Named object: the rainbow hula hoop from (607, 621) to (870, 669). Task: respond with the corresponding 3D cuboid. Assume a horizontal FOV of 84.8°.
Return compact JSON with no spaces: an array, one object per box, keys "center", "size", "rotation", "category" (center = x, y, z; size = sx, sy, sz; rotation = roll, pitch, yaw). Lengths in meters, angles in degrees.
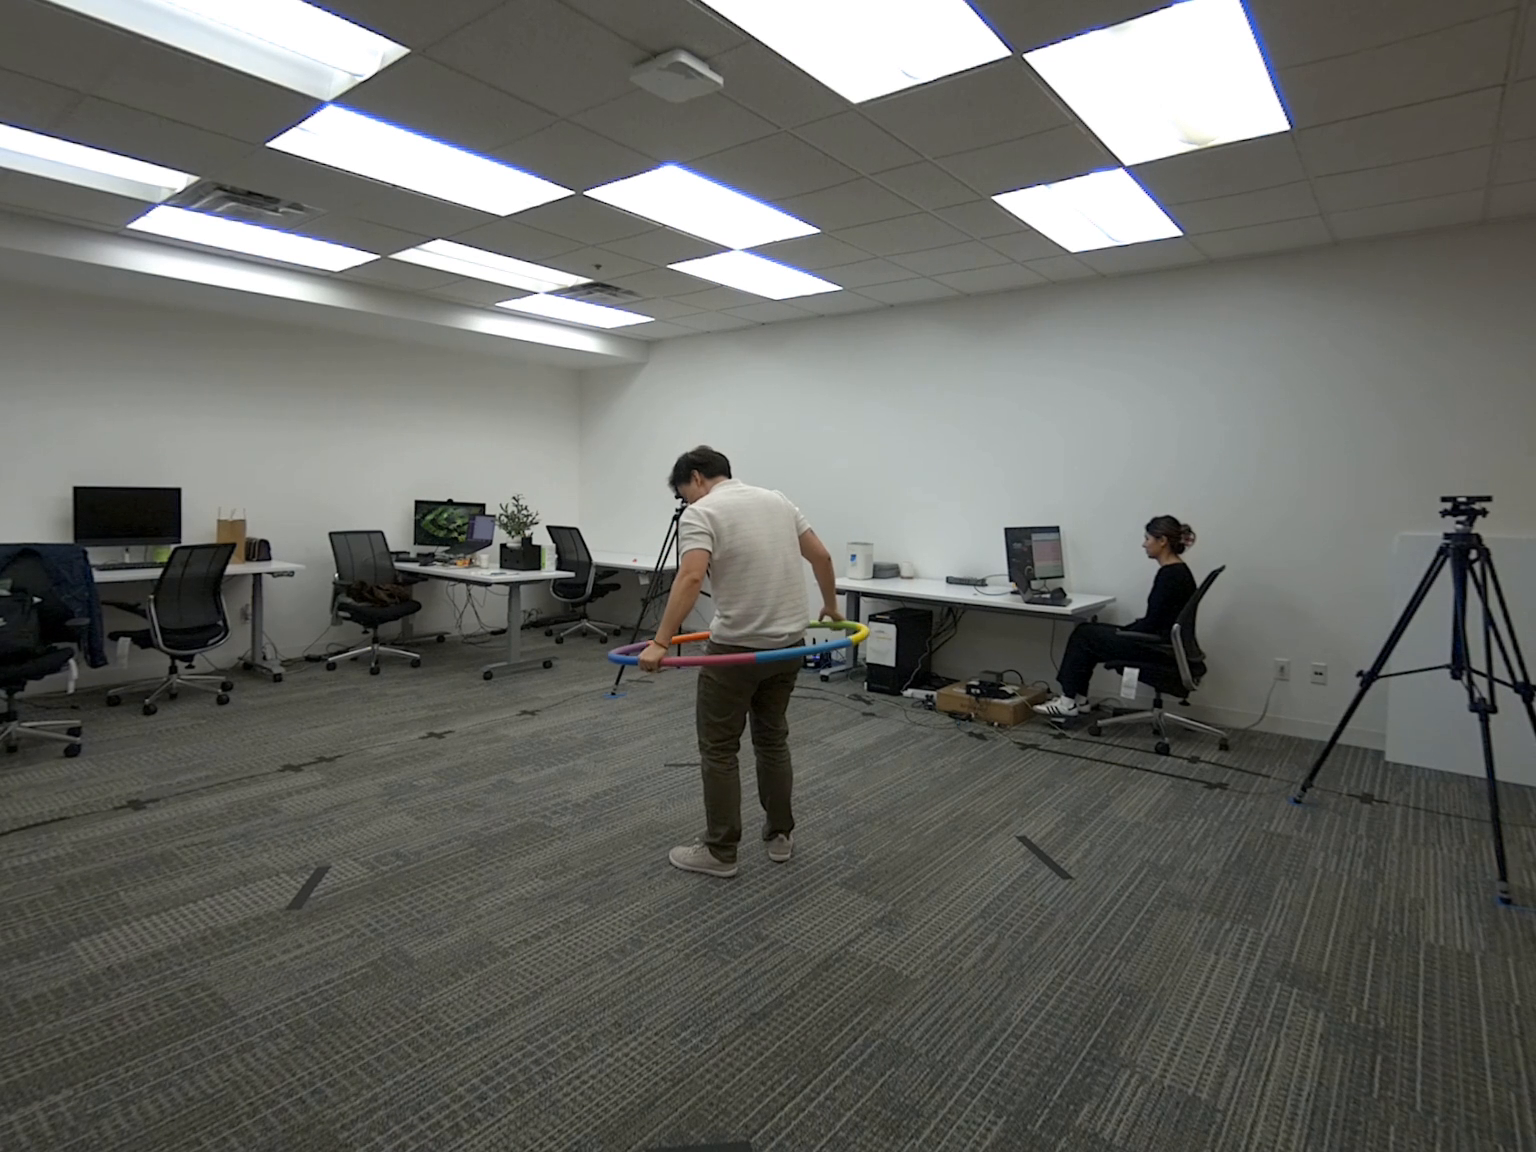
[{"center":[-0.127,0.243,3.195],"size":[0.978,0.035,0.980],"rotation":[-7,2,-2],"category":"rainbow hula hoop"}]
